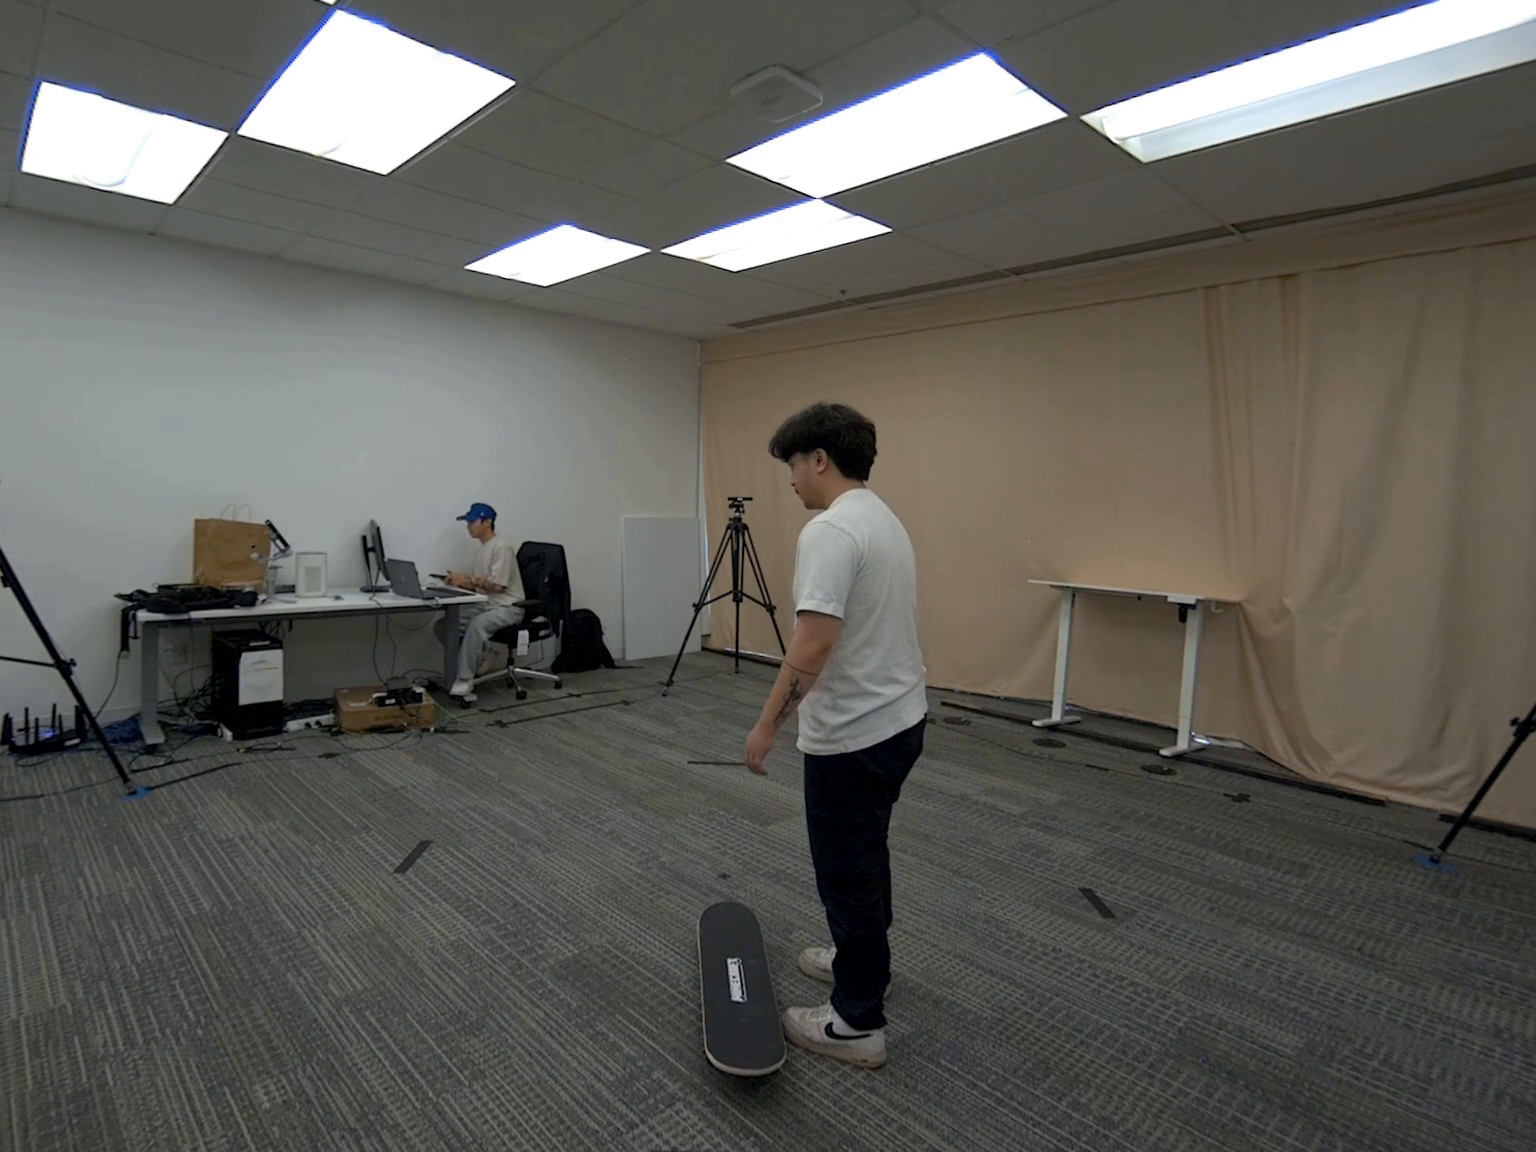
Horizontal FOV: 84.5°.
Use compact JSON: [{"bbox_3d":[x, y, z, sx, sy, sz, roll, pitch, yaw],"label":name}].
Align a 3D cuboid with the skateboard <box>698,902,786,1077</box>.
[{"bbox_3d":[-0.092,1.124,2.294,0.192,0.110,0.791,1,6,-7],"label":"skateboard"}]
